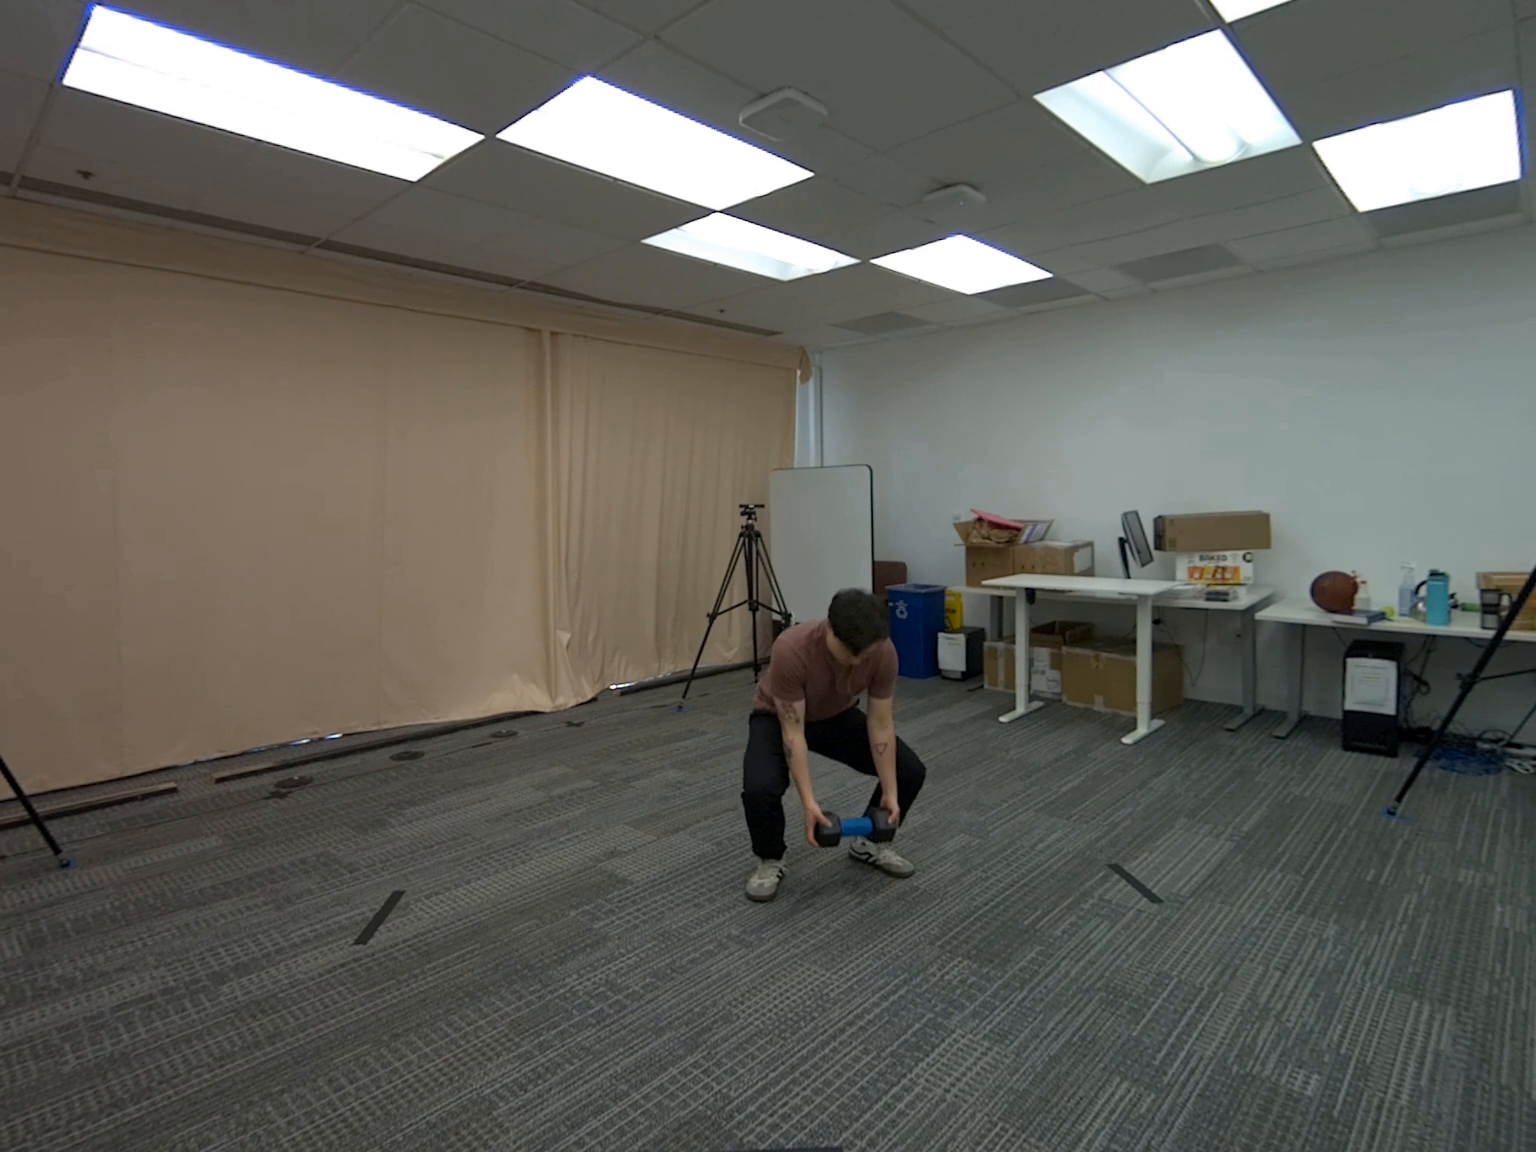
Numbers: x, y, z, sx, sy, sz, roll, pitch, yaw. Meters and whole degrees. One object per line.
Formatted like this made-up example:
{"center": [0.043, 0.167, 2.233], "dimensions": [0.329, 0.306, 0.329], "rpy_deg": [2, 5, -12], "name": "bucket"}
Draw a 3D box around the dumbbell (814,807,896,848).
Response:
{"center": [0.296, 0.865, 2.916], "dimensions": [0.289, 0.109, 0.125], "rpy_deg": [1, 0, -15], "name": "dumbbell"}
